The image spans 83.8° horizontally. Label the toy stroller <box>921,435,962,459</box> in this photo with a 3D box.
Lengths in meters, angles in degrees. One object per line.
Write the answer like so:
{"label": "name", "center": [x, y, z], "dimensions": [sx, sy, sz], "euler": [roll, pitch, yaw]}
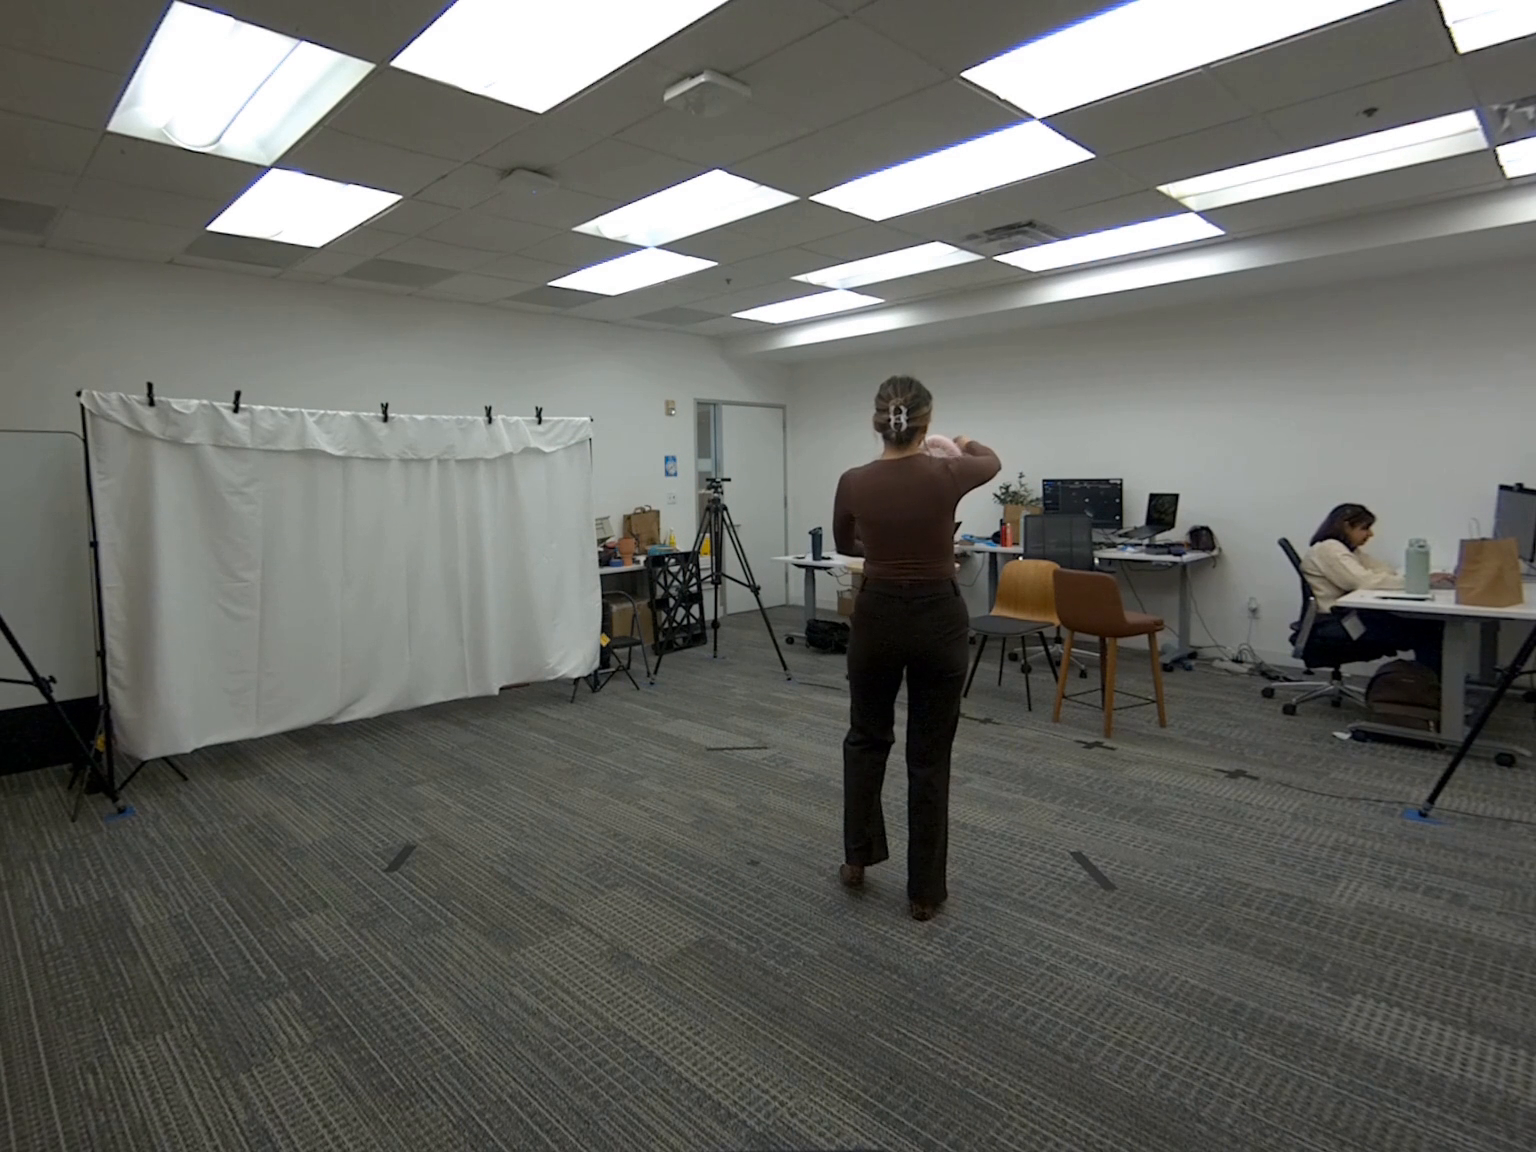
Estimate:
{"label": "toy stroller", "center": [0.562, -0.282, 3.132], "dimensions": [0.290, 0.534, 0.331], "euler": [27, 3, 25]}
